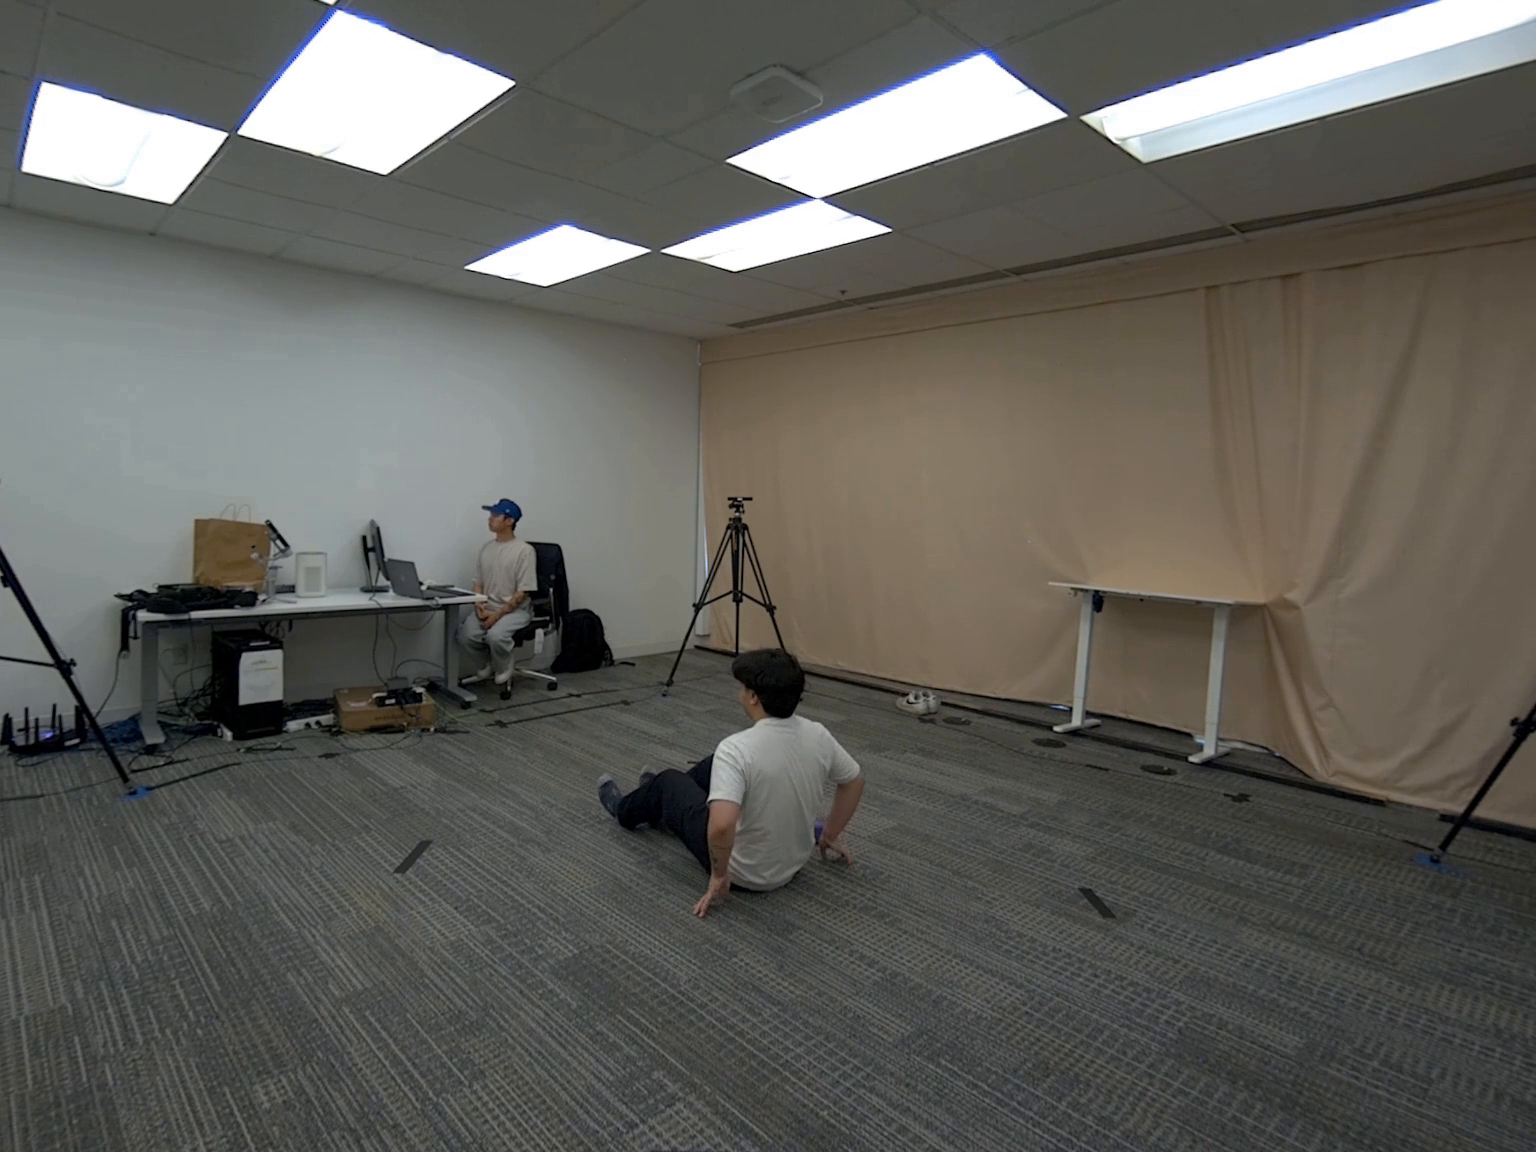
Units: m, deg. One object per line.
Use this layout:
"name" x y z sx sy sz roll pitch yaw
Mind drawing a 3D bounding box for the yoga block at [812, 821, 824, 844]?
"yoga block" 0.115 1.045 3.502 0.147 0.076 0.233 -1 5 -19
